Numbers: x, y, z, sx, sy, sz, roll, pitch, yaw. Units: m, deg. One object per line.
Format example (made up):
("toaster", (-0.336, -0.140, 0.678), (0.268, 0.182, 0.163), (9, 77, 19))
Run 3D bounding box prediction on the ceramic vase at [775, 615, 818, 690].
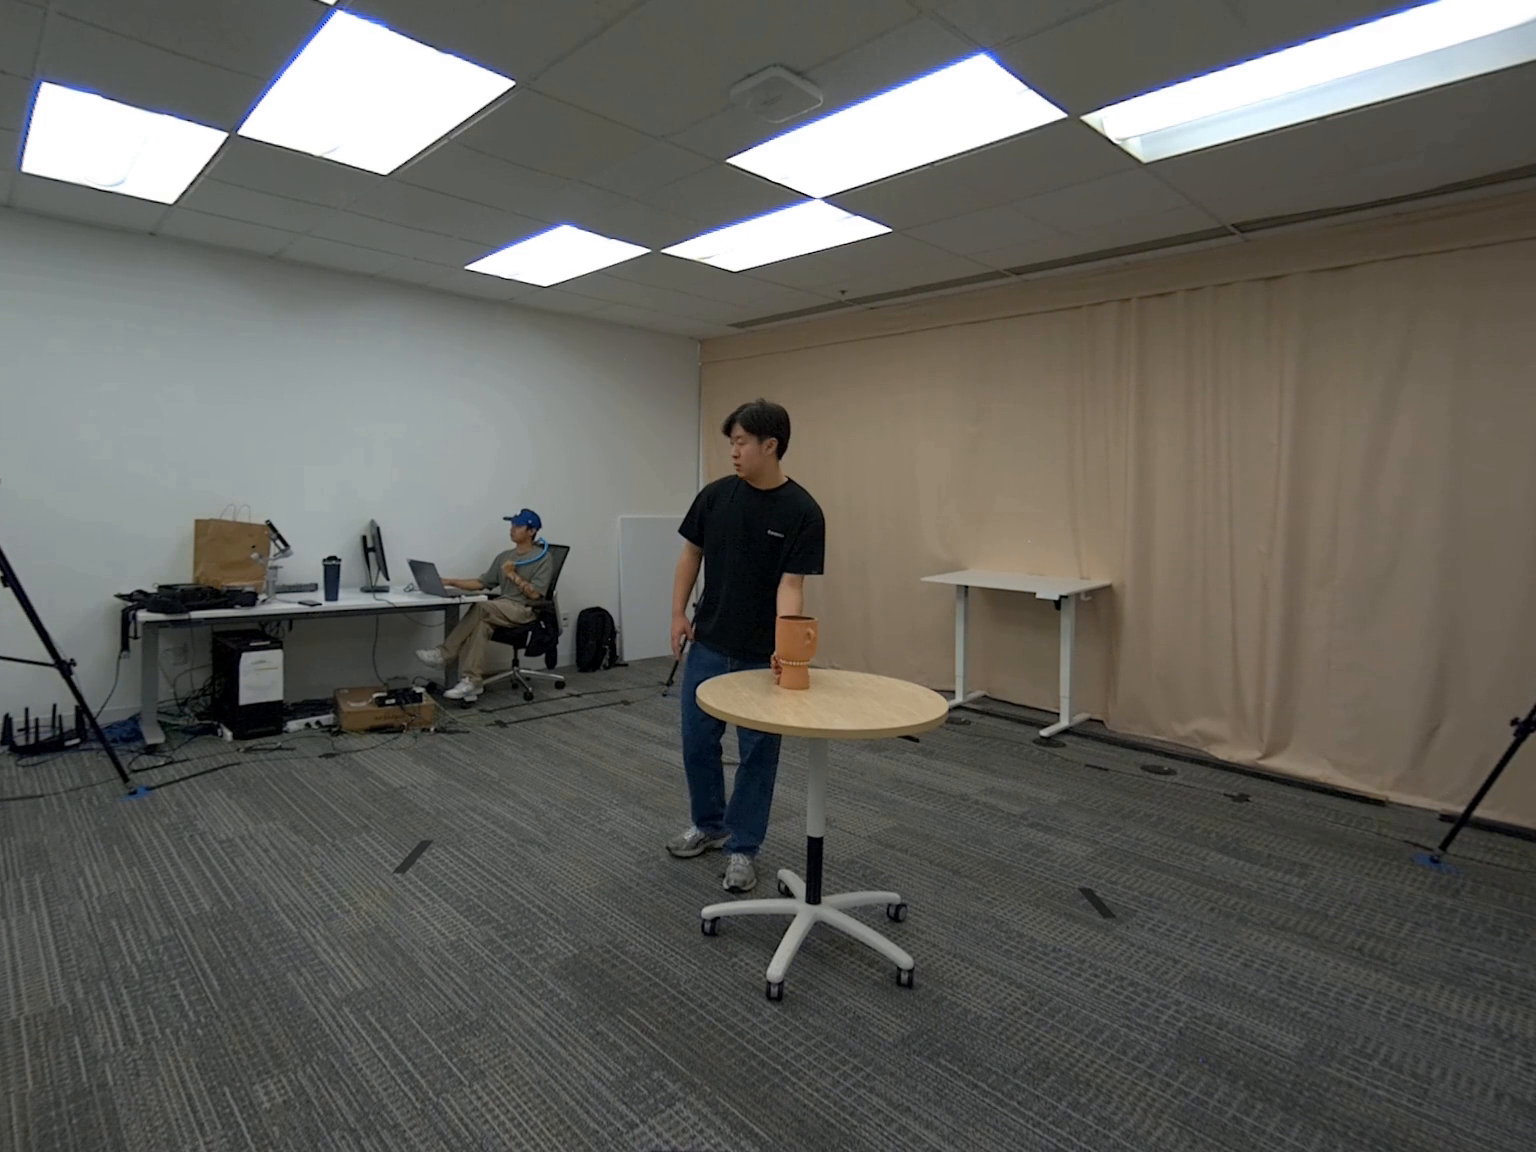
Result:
("ceramic vase", (0.082, 0.247, 2.674), (0.136, 0.219, 0.158), (4, 4, 10))
